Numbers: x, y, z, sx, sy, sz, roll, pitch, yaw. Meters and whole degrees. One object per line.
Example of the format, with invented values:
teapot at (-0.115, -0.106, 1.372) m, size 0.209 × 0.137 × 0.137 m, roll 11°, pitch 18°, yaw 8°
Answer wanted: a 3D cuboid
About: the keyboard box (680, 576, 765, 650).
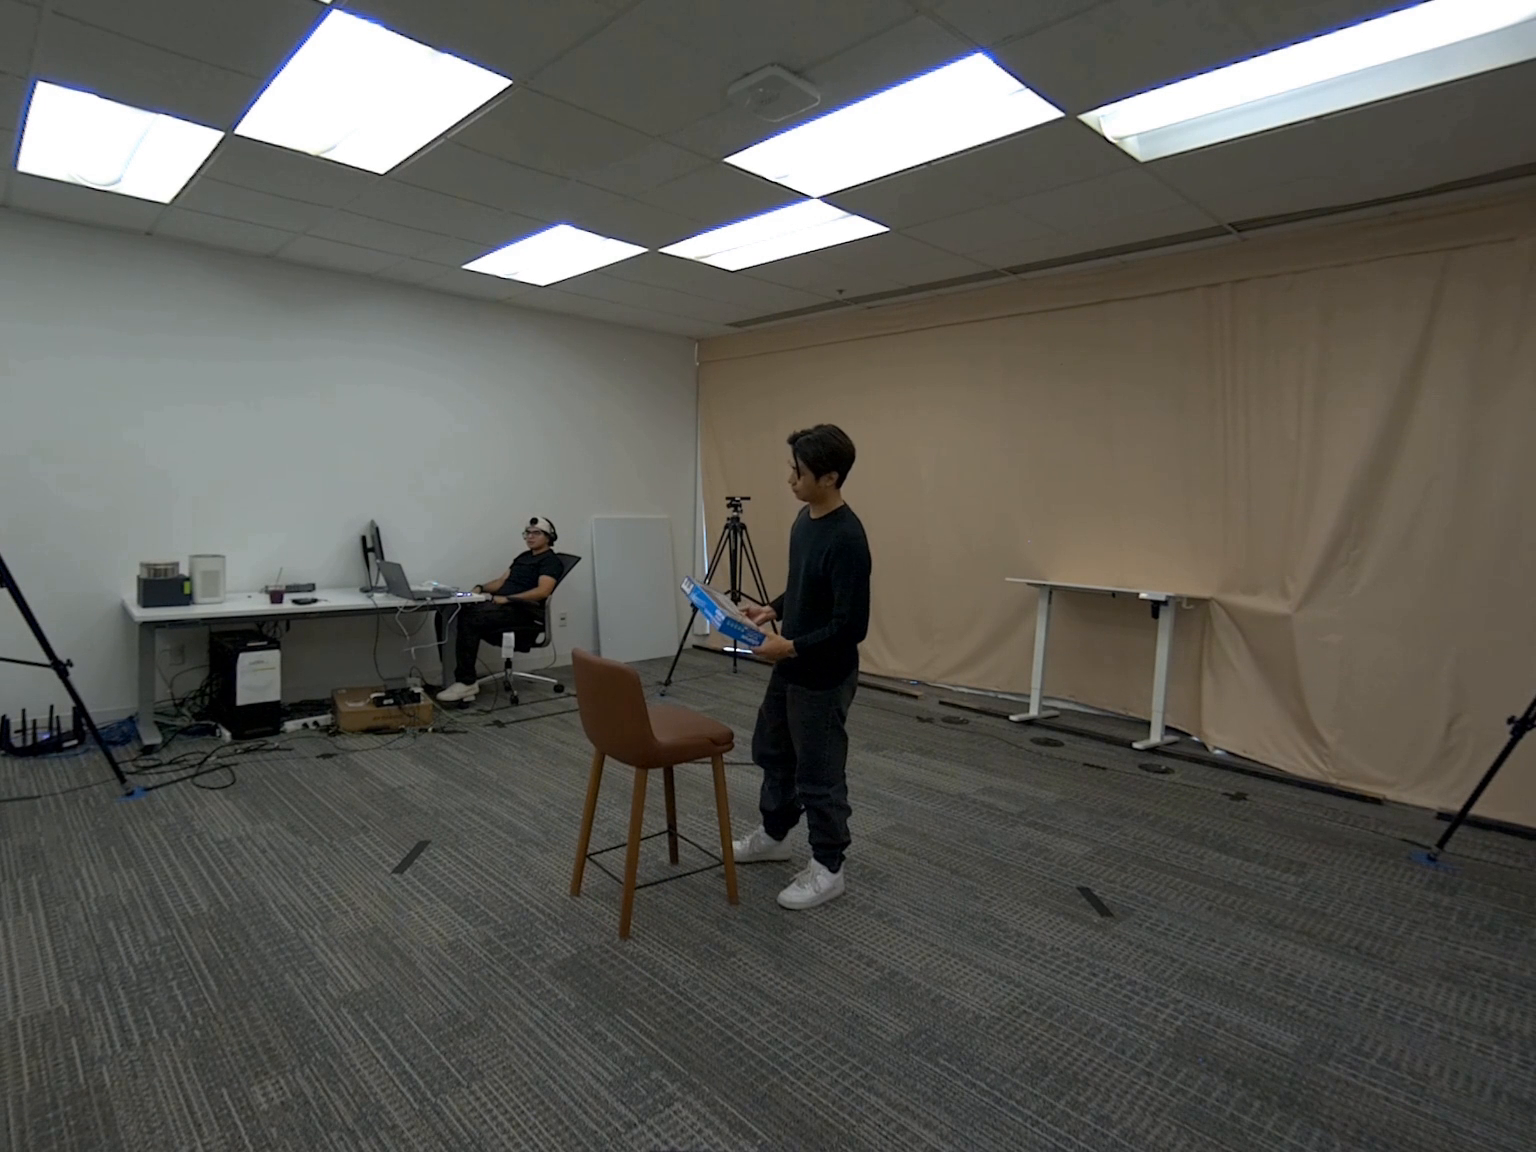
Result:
keyboard box at (-0.172, 0.120, 3.002) m, size 0.171 × 0.059 × 0.449 m, roll 29°, pitch 5°, yaw -29°
